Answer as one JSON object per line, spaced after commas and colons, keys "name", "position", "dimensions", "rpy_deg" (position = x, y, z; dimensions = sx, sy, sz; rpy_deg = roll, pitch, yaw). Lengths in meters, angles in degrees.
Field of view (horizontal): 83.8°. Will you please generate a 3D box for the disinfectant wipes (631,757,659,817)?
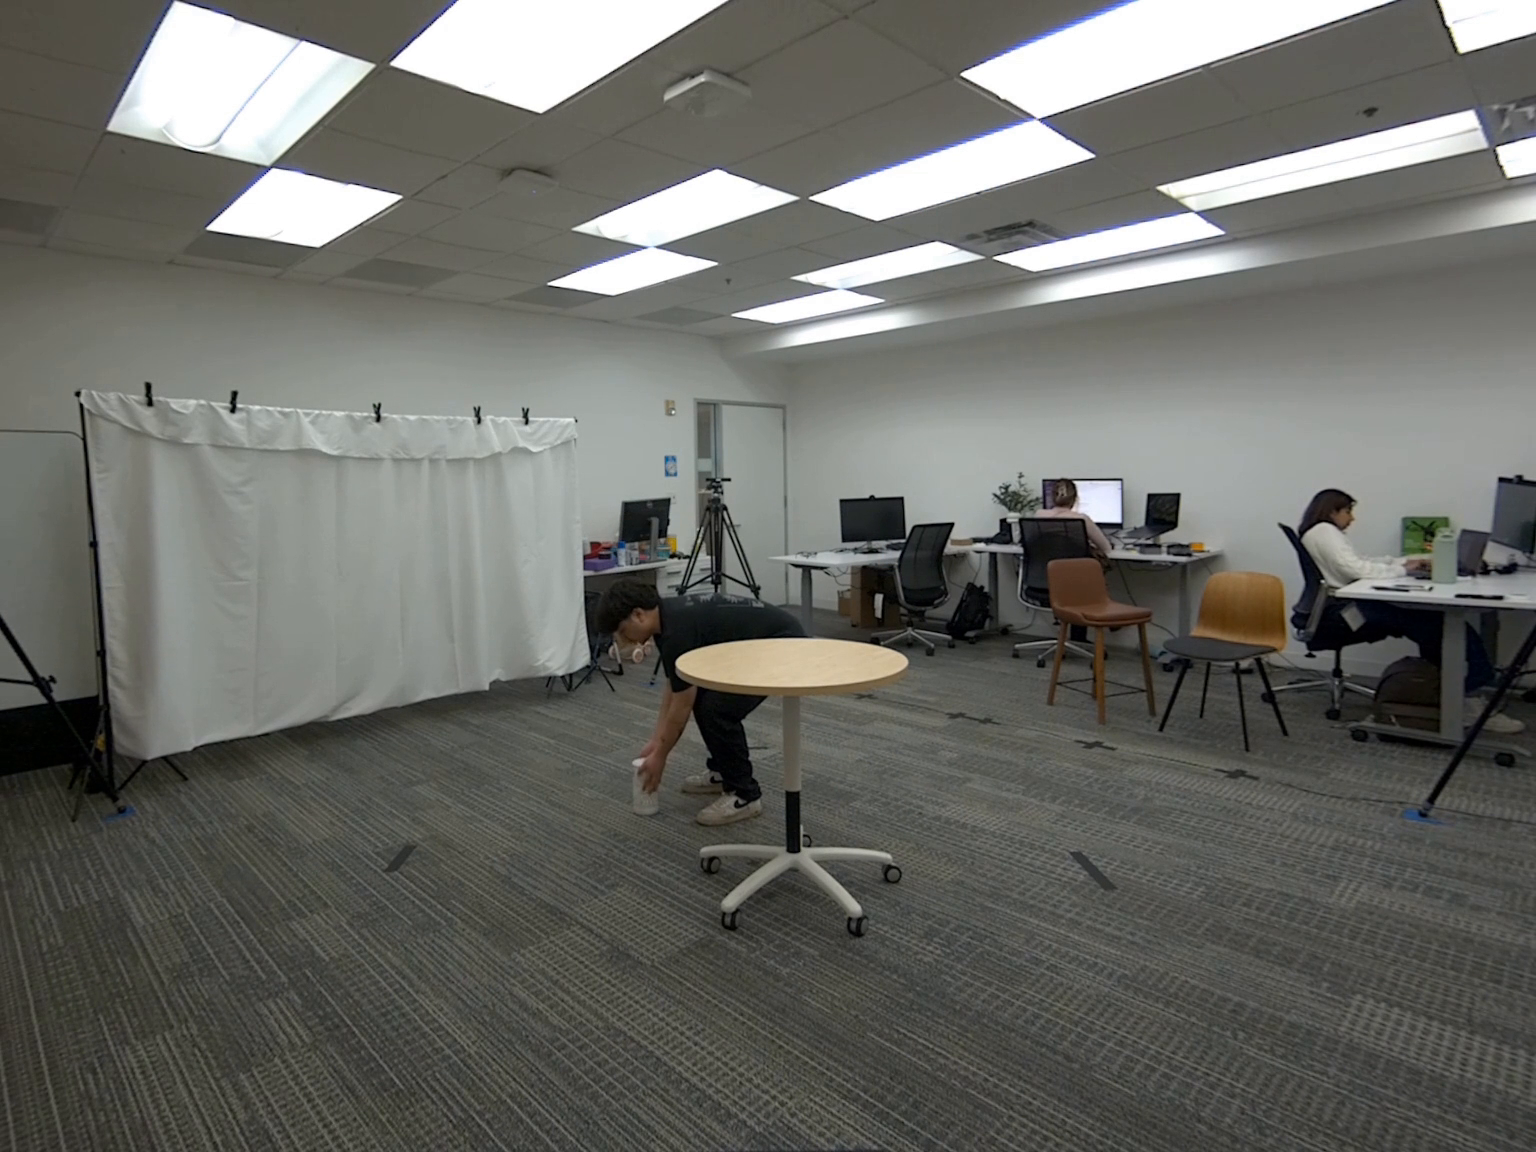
{"name": "disinfectant wipes", "position": [-0.515, 0.879, 3.597], "dimensions": [0.118, 0.217, 0.118], "rpy_deg": [-1, 2, -2]}
